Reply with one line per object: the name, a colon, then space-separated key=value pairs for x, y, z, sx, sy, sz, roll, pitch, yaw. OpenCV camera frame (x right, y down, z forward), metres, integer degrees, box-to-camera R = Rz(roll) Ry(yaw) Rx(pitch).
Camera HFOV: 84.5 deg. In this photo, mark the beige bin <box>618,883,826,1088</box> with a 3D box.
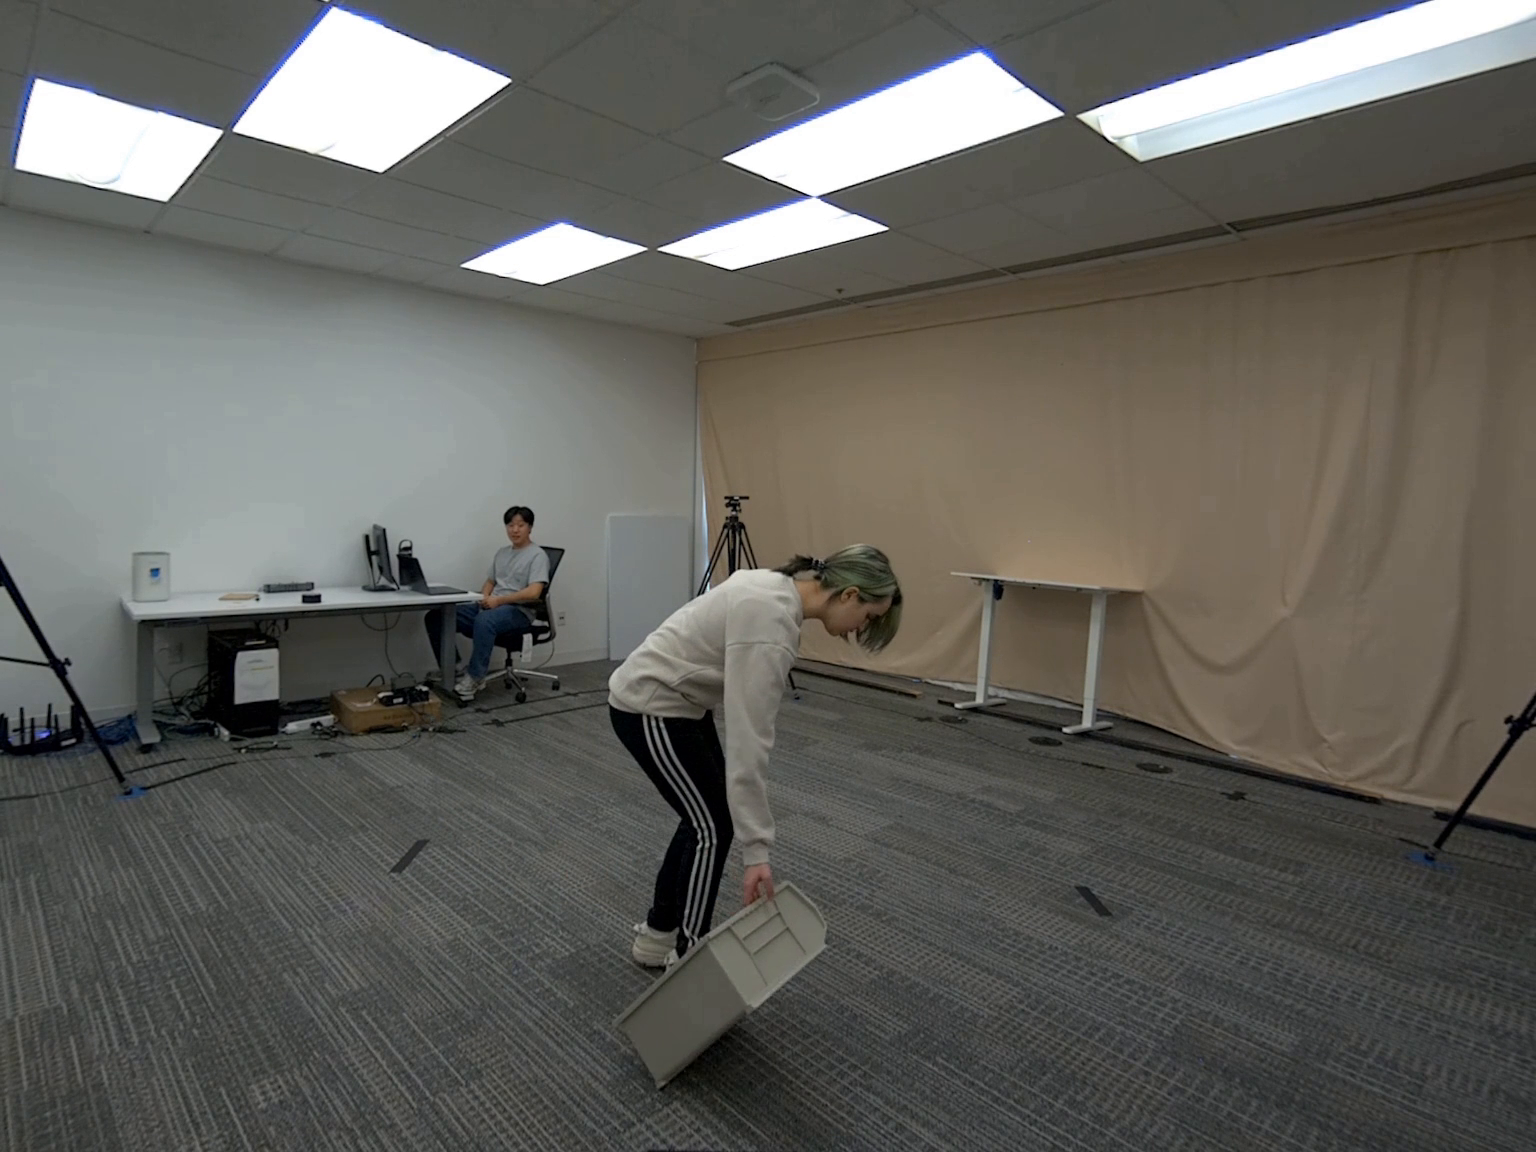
beige bin: x=-0.111 y=0.983 z=2.064 sx=0.193 sy=0.421 sz=0.369 roll=51 pitch=28 yaw=22
